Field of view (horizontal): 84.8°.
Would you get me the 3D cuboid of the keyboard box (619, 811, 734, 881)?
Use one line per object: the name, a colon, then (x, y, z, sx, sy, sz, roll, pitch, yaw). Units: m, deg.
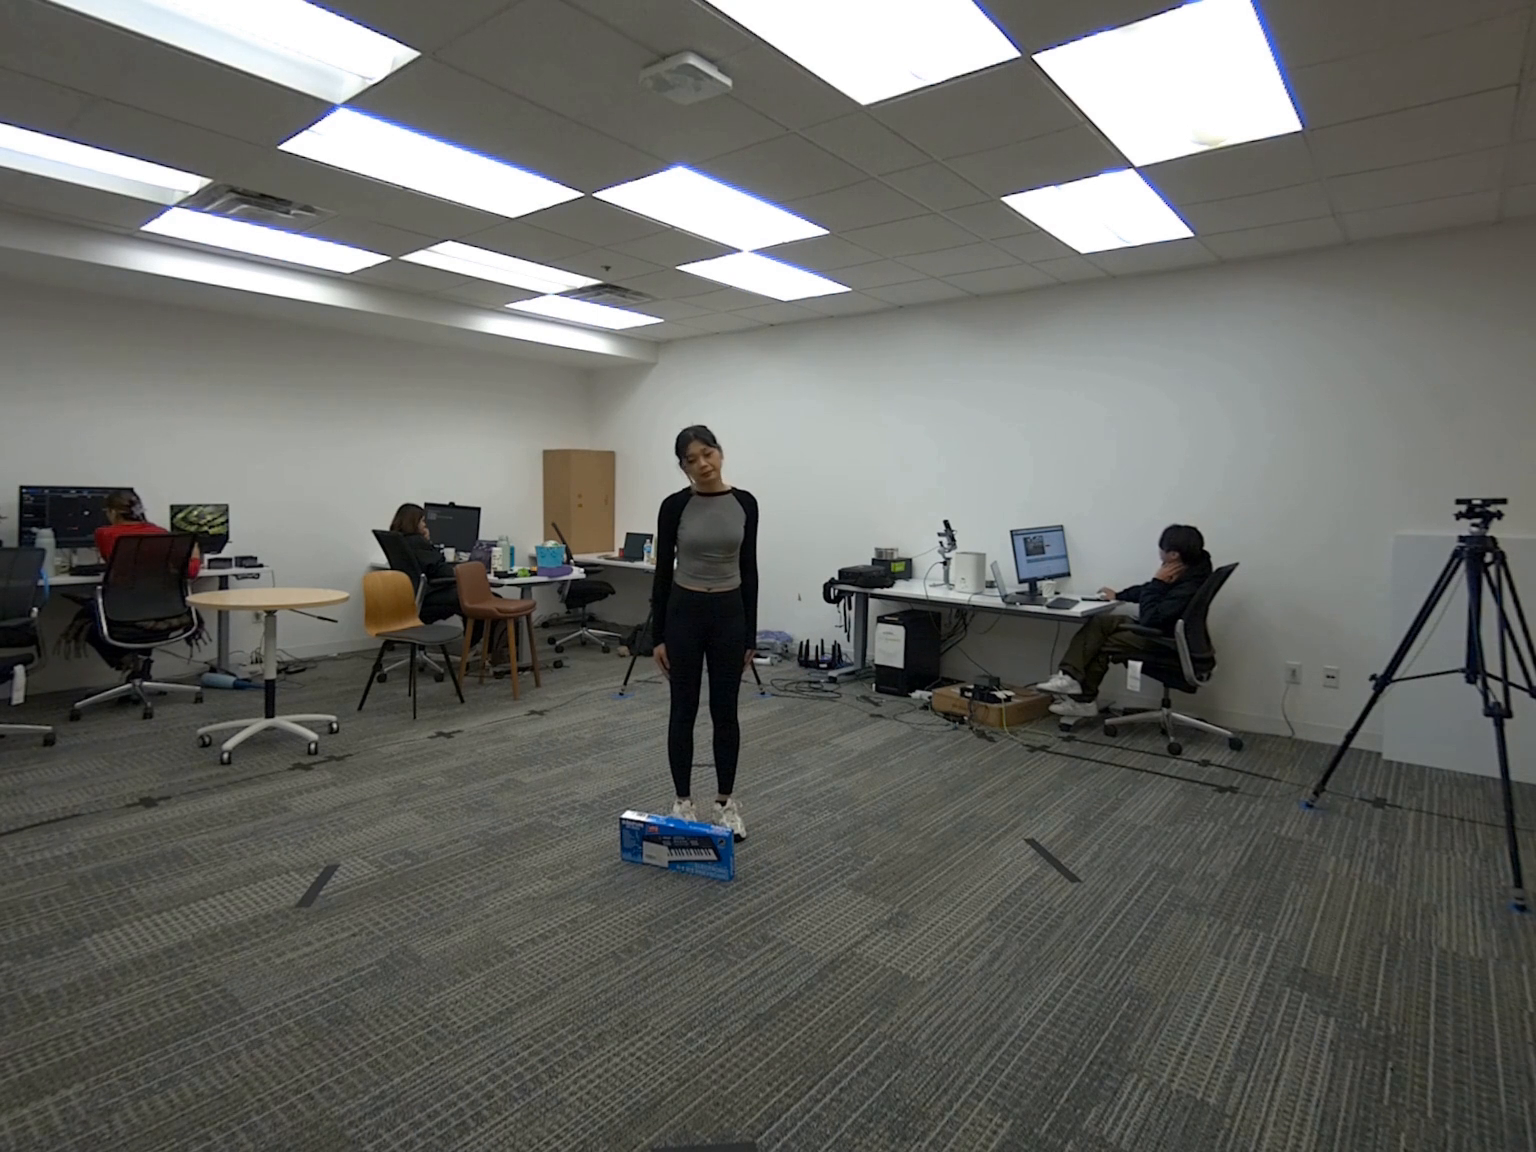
keyboard box: (-0.343, 0.980, 3.106, 0.446, 0.174, 0.058, 2, 9, 21)
